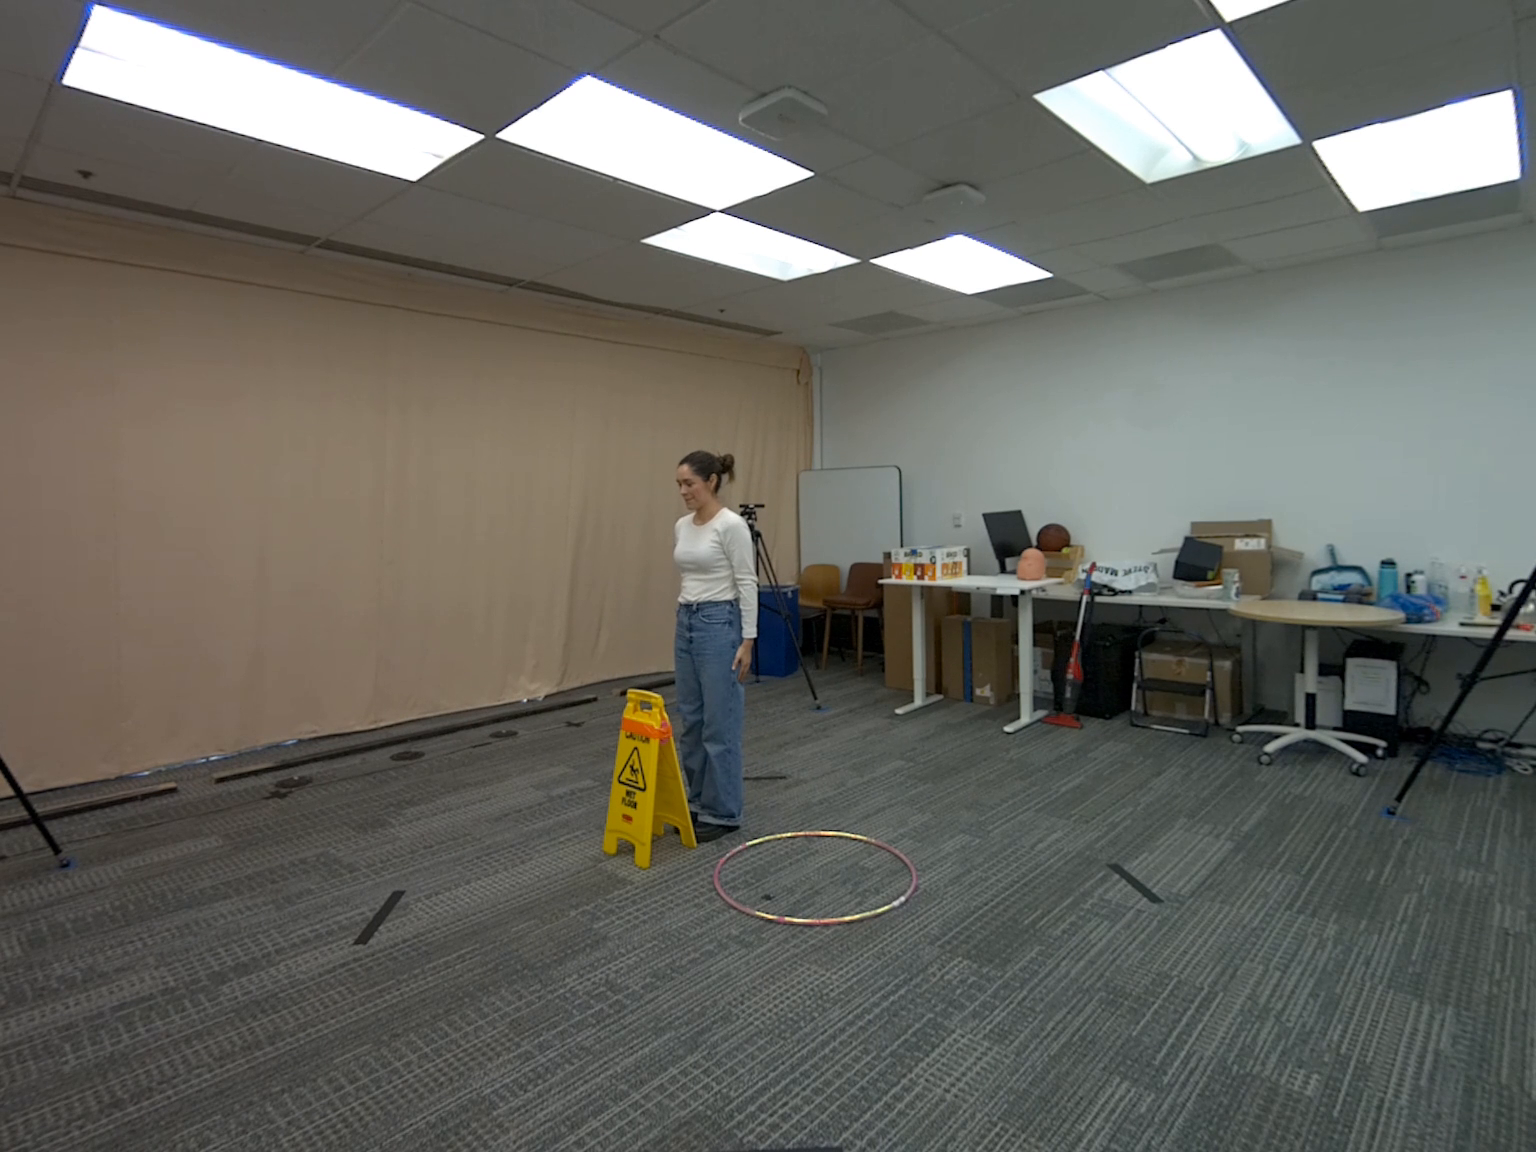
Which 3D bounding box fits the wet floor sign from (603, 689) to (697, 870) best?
[{"bbox_3d":[-0.489,0.790,3.410,0.291,0.645,0.281,1,4,44],"label":"wet floor sign"}]
